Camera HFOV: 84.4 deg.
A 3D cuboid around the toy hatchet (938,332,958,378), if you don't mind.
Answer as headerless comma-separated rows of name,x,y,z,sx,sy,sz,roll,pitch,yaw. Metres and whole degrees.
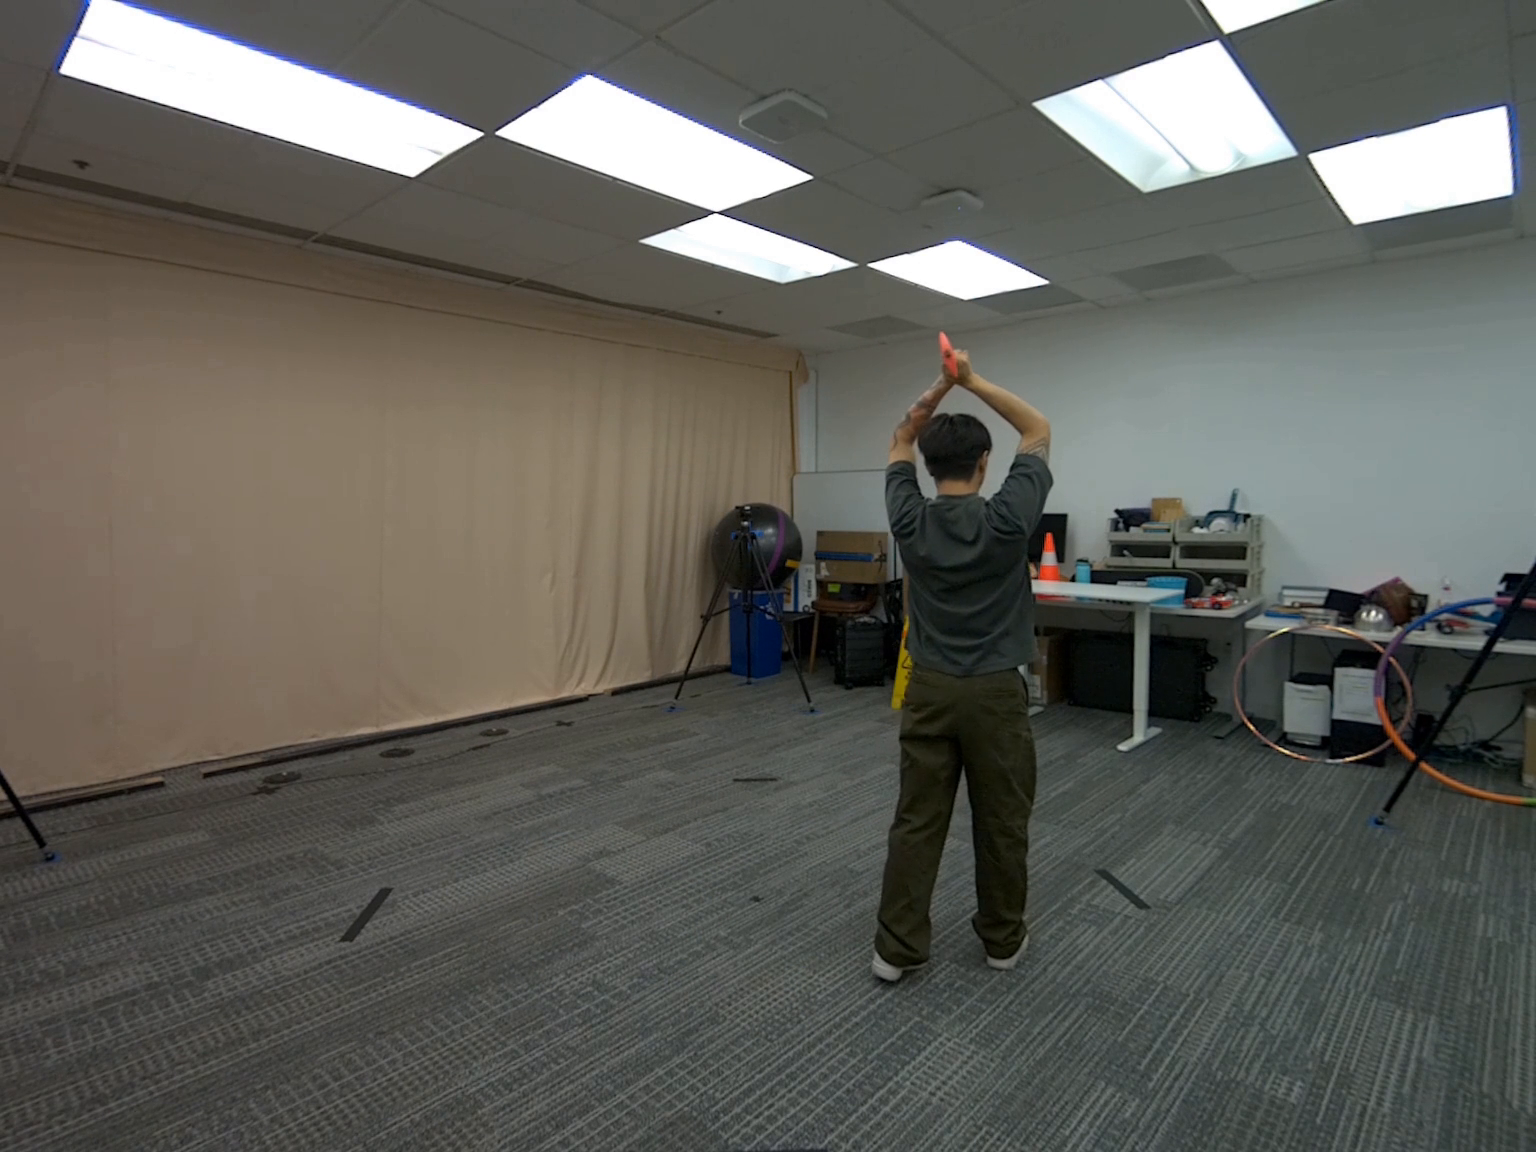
toy hatchet,0.538,-0.657,2.450,0.030,0.129,0.269,-19,15,20
